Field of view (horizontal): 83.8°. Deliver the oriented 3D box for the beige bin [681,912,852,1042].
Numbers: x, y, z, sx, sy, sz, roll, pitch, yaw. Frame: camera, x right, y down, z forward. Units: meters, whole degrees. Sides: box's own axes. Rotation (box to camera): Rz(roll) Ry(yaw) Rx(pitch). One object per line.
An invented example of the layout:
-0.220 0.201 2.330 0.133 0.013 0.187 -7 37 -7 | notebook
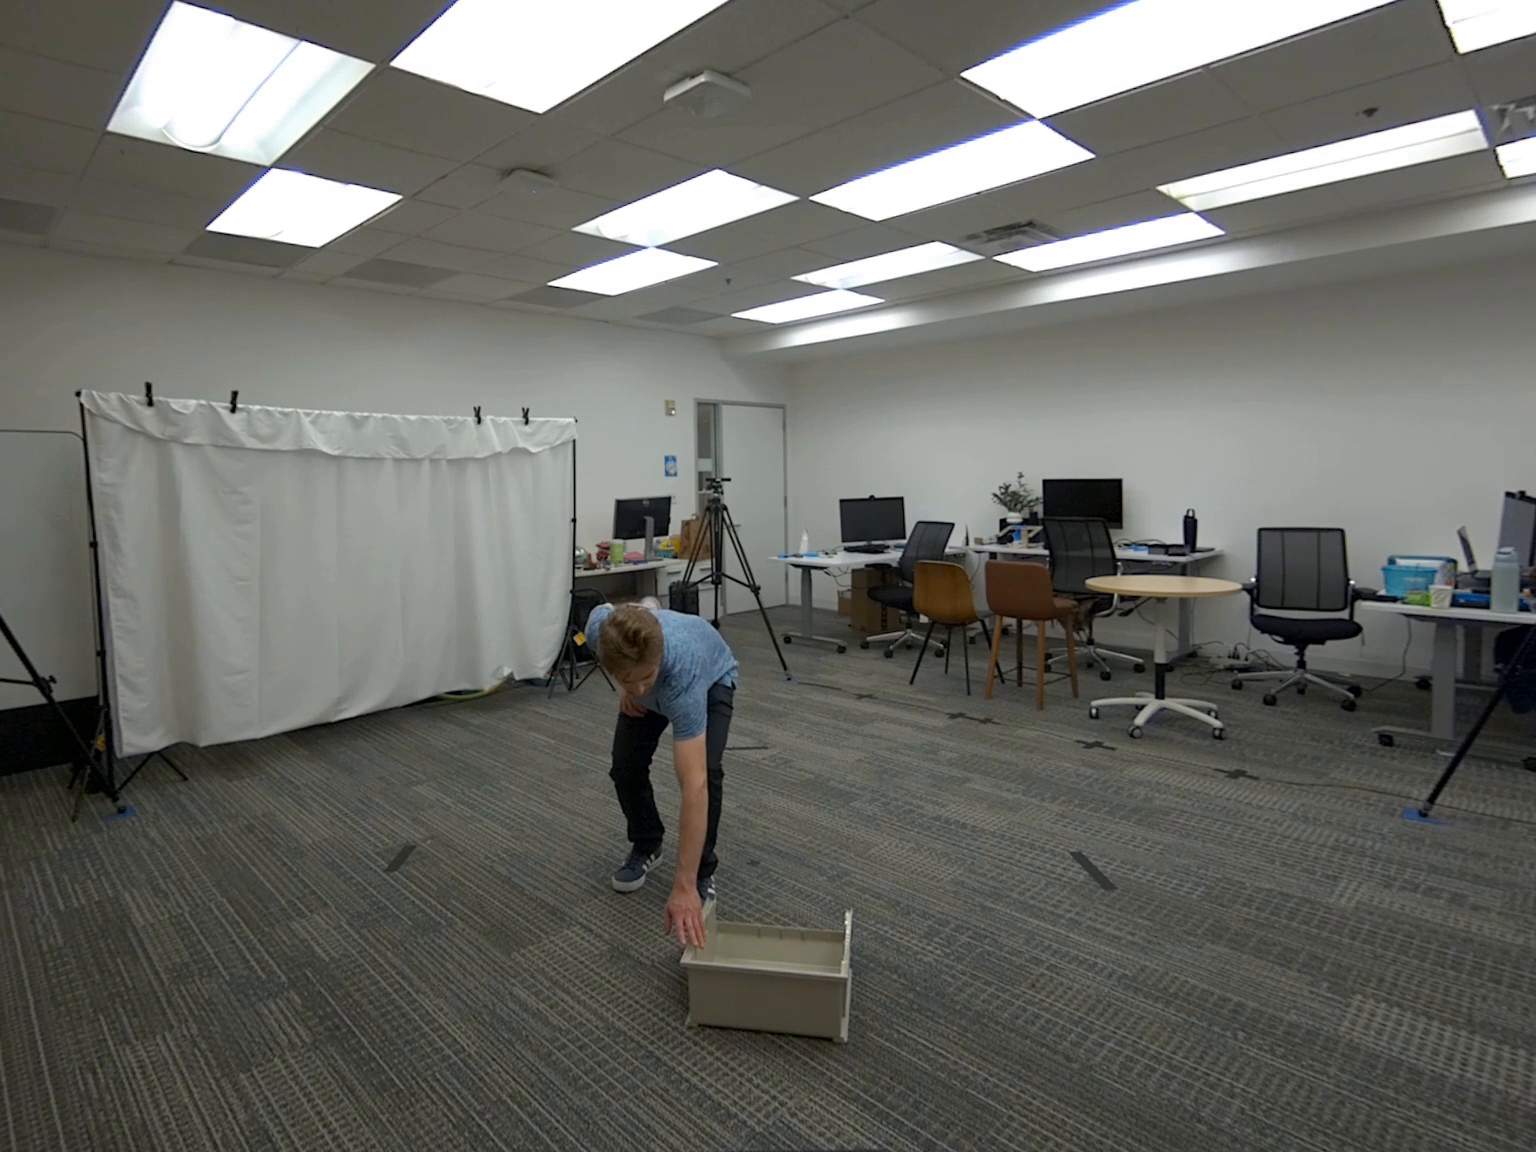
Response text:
0.015 1.045 2.314 0.427 0.188 0.376 0 7 9 | beige bin
